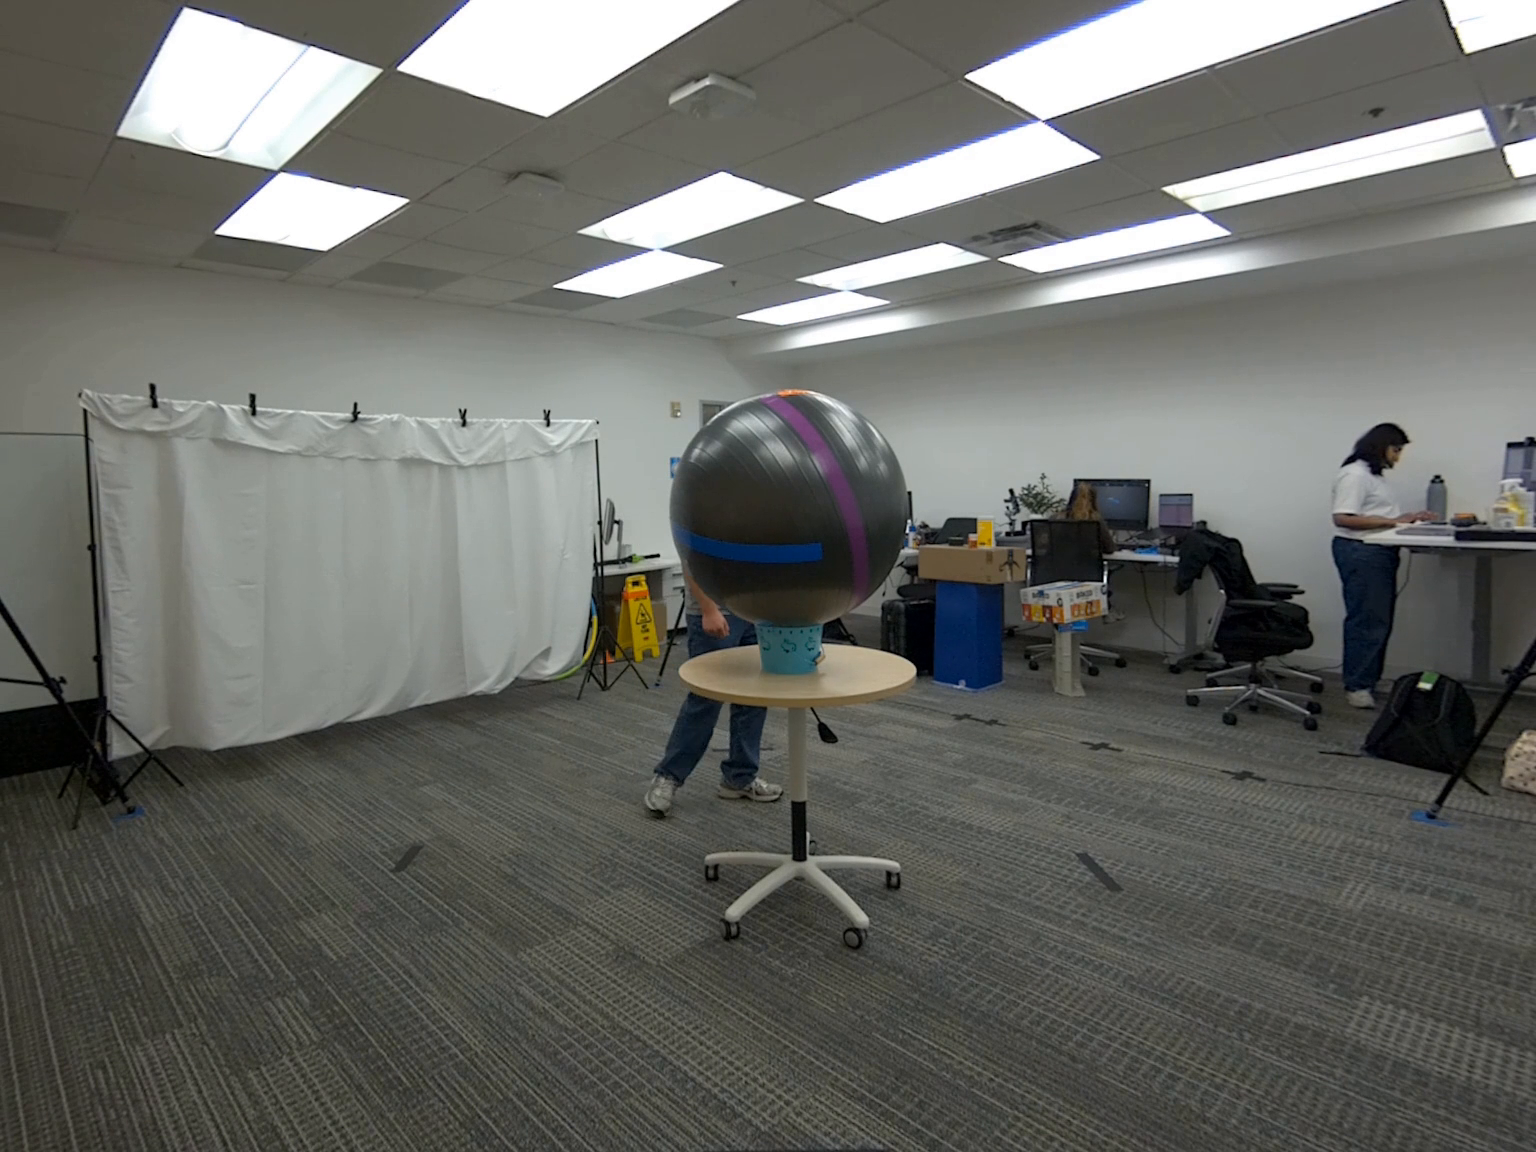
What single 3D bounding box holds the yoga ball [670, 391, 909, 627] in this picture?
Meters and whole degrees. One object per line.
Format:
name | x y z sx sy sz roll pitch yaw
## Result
yoga ball | 0.065 -0.211 2.737 0.757 0.755 0.762 -1 5 -2
